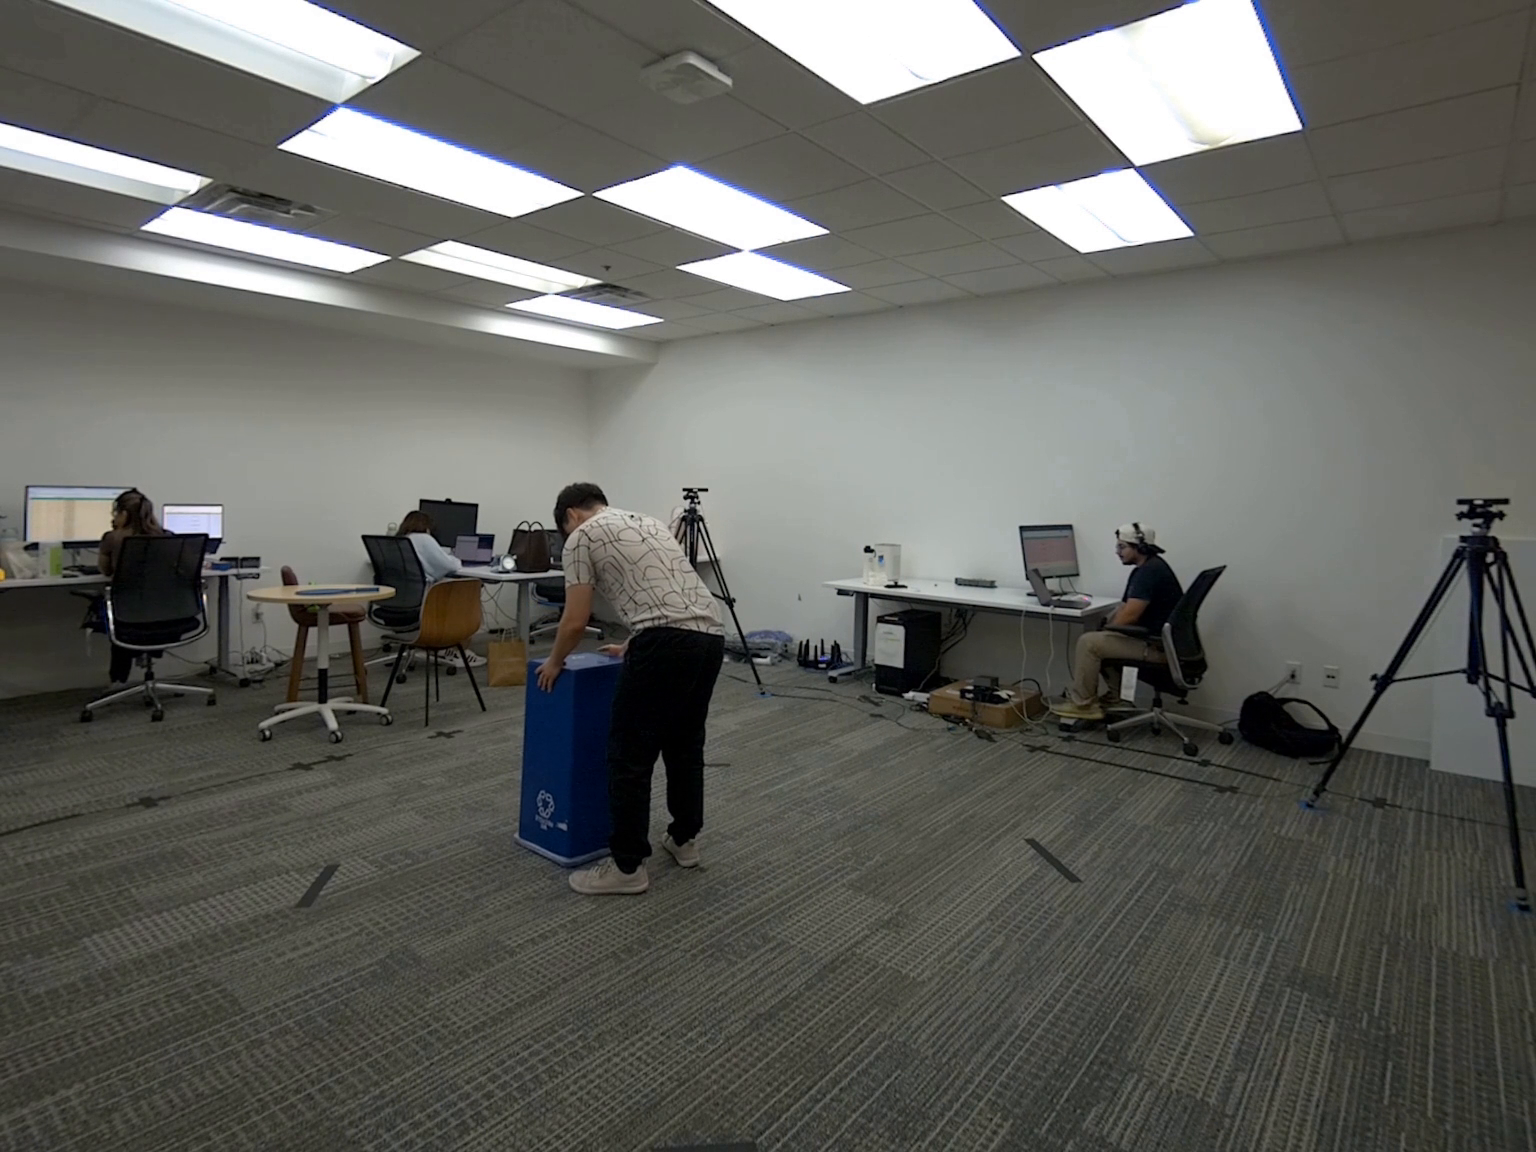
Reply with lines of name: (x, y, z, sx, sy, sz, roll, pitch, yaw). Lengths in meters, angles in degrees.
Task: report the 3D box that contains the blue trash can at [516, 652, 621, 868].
blue trash can: (-0.760, 0.678, 3.324, 0.390, 0.713, 0.362, 2, 2, 41)
